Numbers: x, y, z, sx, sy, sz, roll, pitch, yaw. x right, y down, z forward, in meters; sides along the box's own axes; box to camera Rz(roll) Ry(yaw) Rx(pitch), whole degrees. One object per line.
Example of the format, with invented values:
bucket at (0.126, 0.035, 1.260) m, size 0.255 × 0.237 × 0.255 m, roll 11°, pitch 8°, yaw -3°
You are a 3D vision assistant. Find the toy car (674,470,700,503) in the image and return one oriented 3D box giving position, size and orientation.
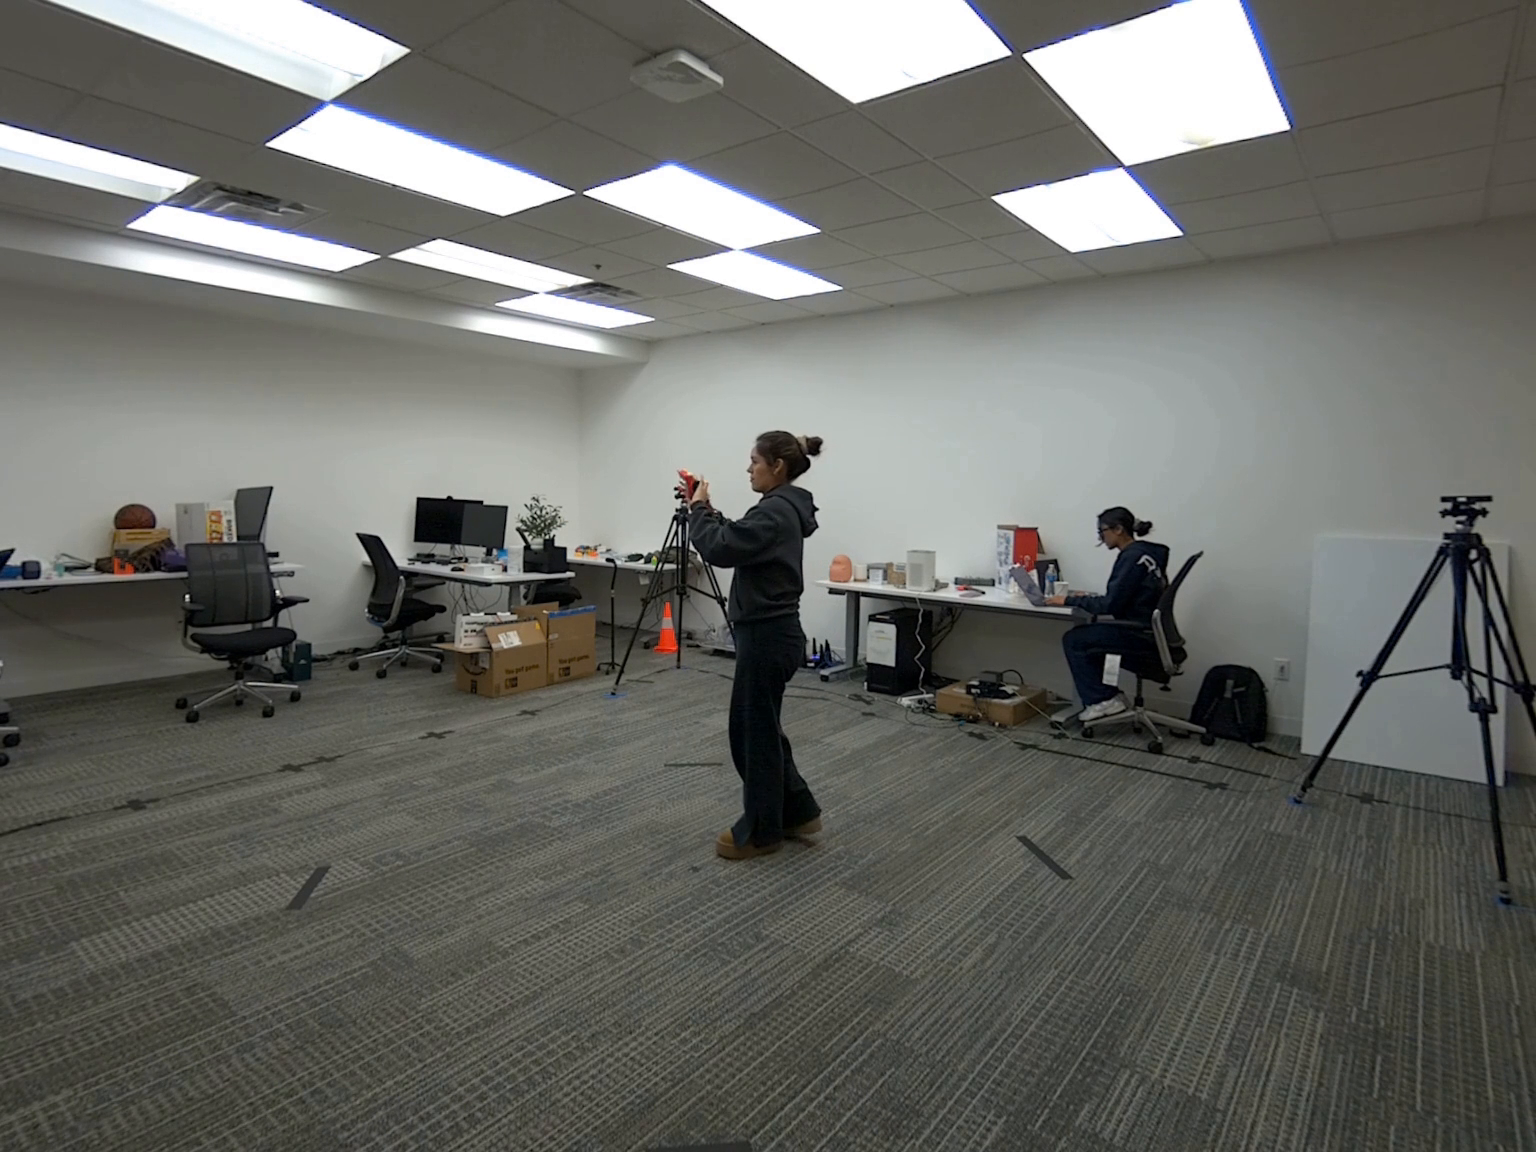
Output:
toy car at (-0.280, -0.316, 3.277) m, size 0.083 × 0.245 × 0.135 m, roll -43°, pitch 31°, yaw -5°
